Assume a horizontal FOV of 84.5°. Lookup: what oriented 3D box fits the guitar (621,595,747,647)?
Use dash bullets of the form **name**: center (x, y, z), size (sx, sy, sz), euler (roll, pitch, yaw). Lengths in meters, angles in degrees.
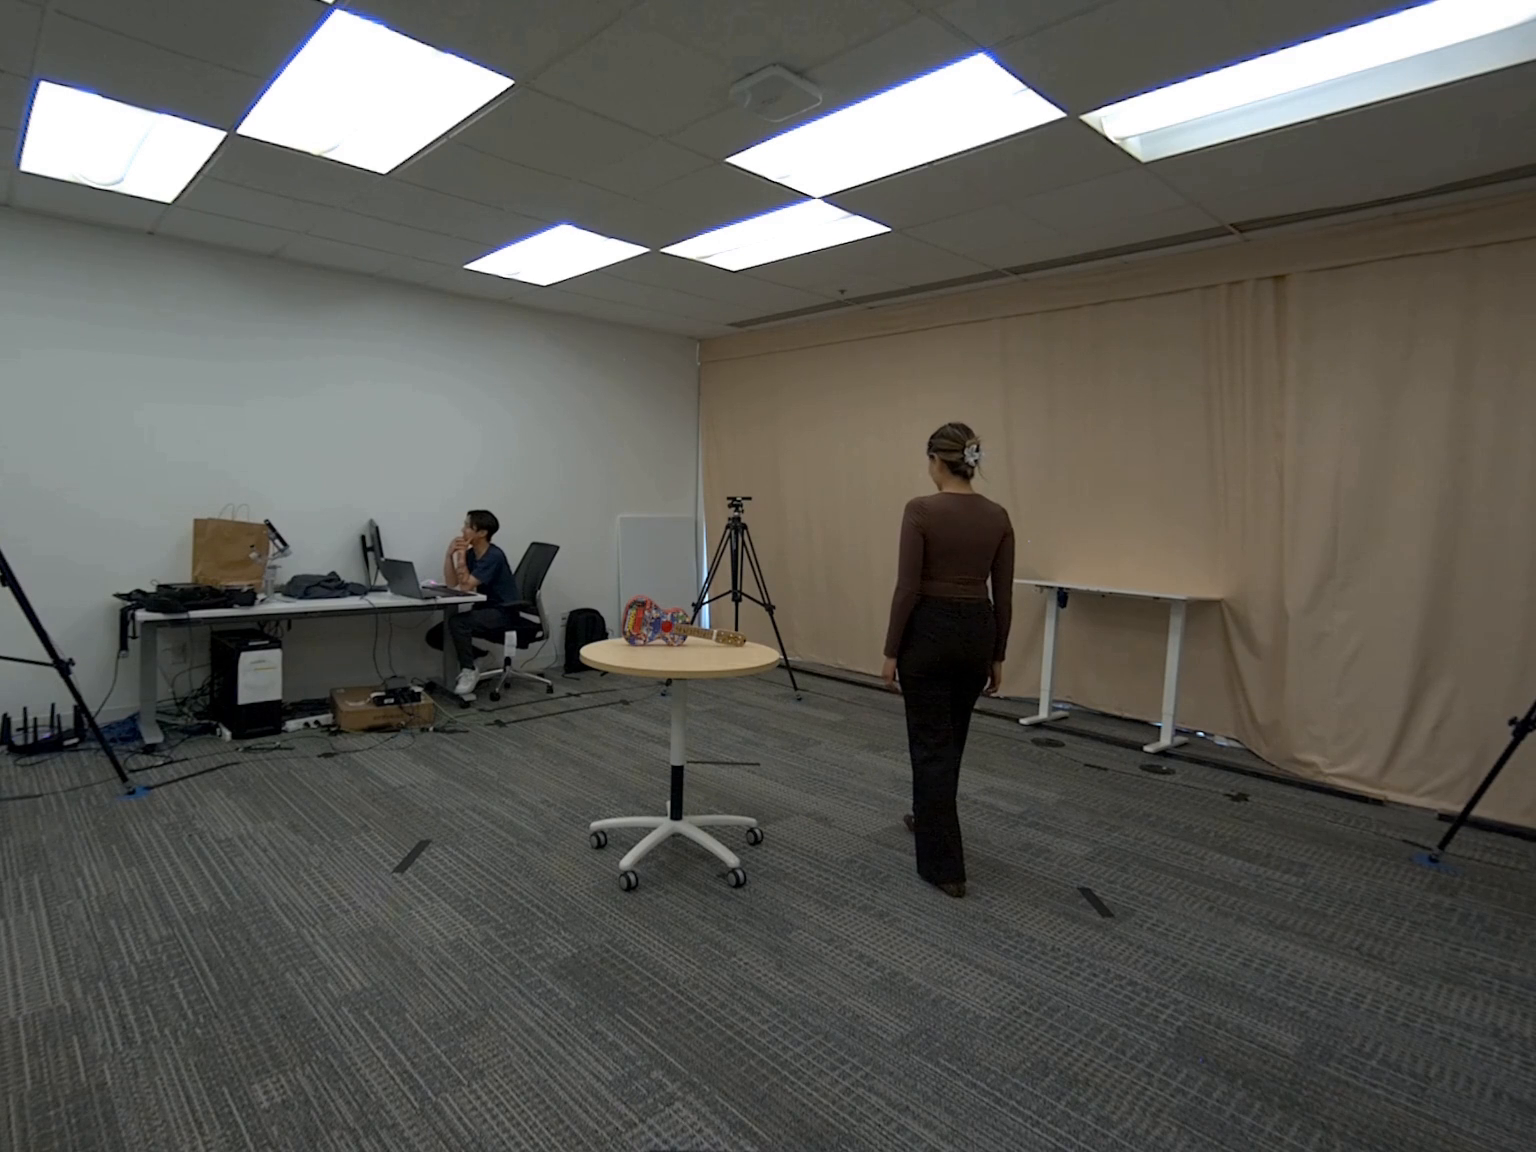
- **guitar**: center (-0.350, 0.234, 3.383), size (0.492, 0.193, 0.071), euler (19, 1, -11)
